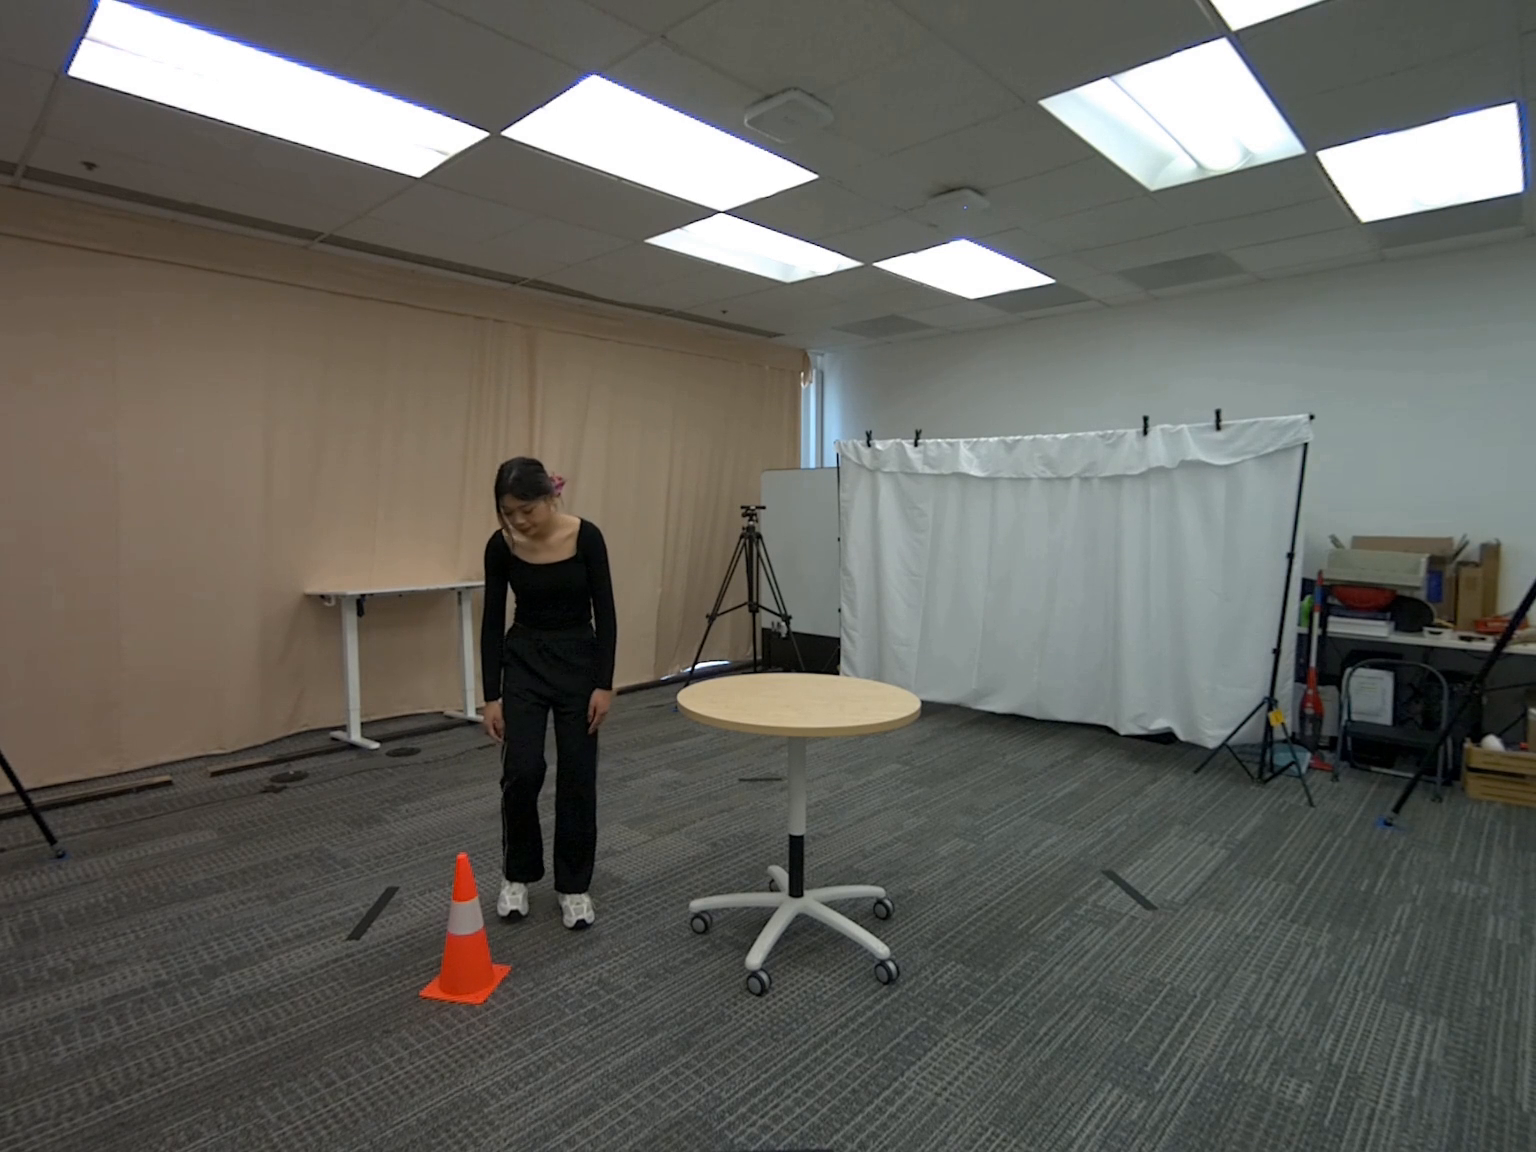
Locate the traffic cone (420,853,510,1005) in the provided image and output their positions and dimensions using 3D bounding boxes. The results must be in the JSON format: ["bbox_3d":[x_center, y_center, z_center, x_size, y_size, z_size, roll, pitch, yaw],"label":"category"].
[{"bbox_3d":[-0.881,0.998,2.473,0.208,0.383,0.200,2,2,13],"label":"traffic cone"}]
